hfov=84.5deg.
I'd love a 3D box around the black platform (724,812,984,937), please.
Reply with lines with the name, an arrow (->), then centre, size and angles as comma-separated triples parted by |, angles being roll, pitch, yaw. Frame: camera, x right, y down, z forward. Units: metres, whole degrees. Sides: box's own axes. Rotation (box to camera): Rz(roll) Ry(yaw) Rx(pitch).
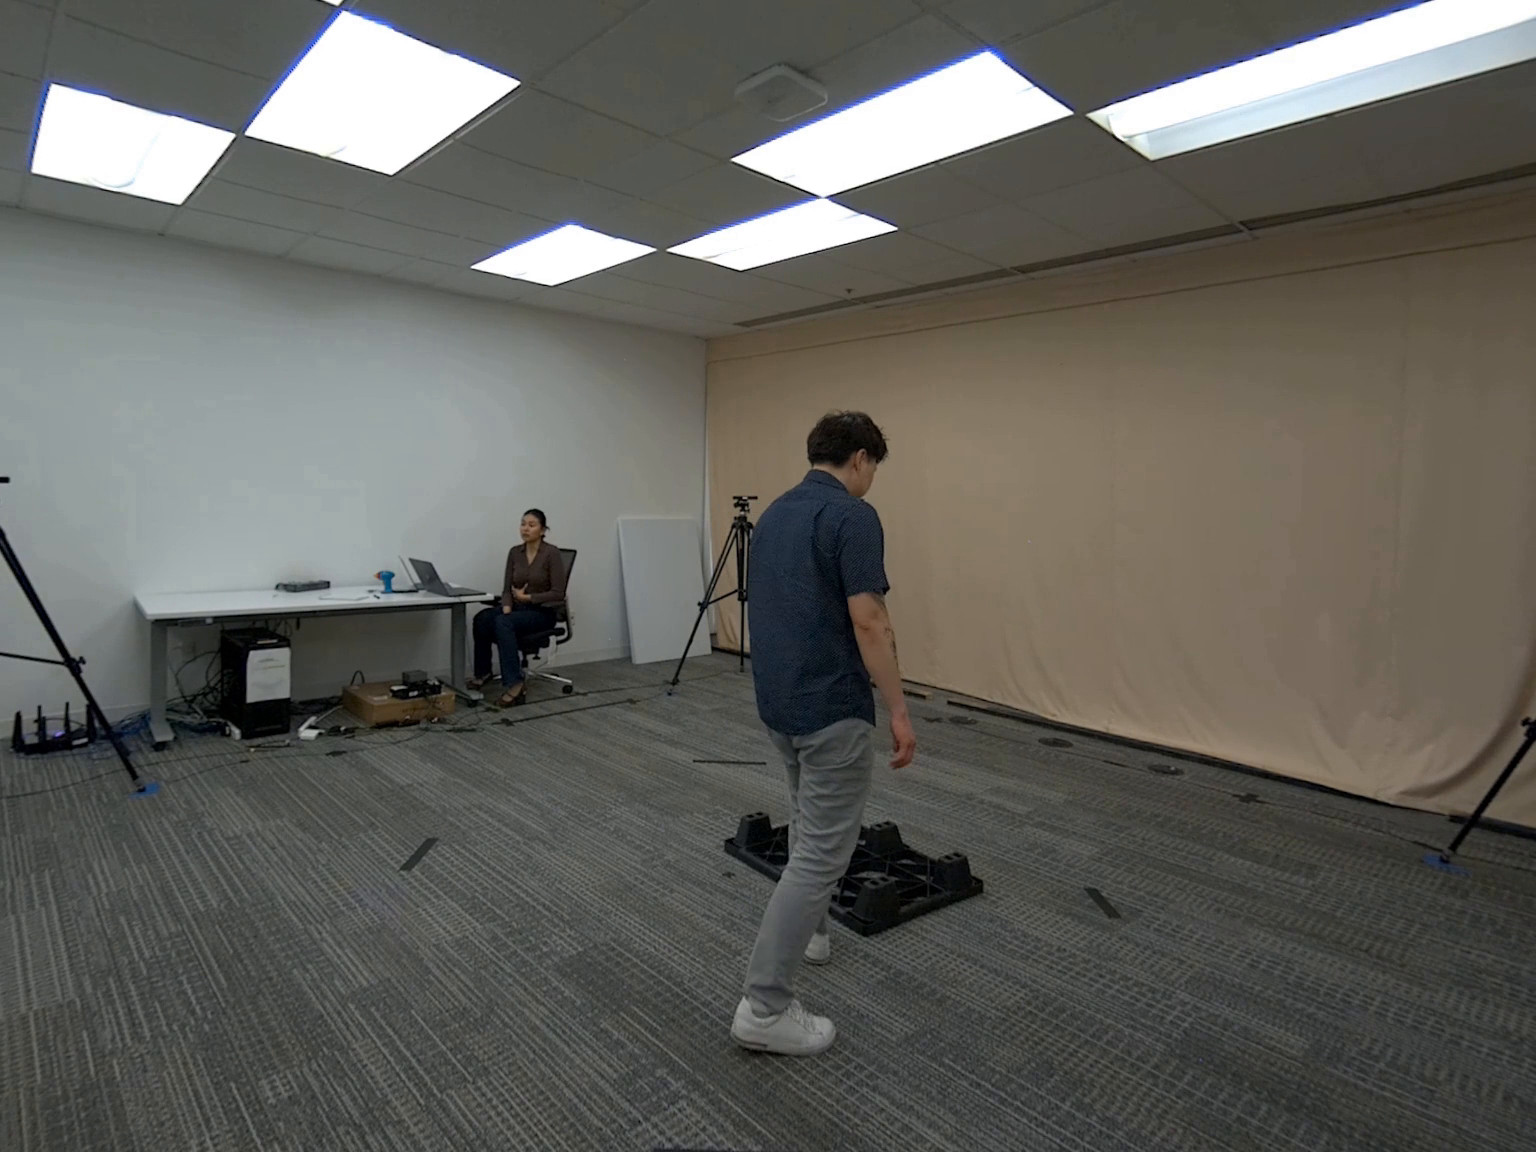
black platform -> 0.300, 1.043, 3.167 | 0.592, 0.143, 0.826 | -3, 7, -37
